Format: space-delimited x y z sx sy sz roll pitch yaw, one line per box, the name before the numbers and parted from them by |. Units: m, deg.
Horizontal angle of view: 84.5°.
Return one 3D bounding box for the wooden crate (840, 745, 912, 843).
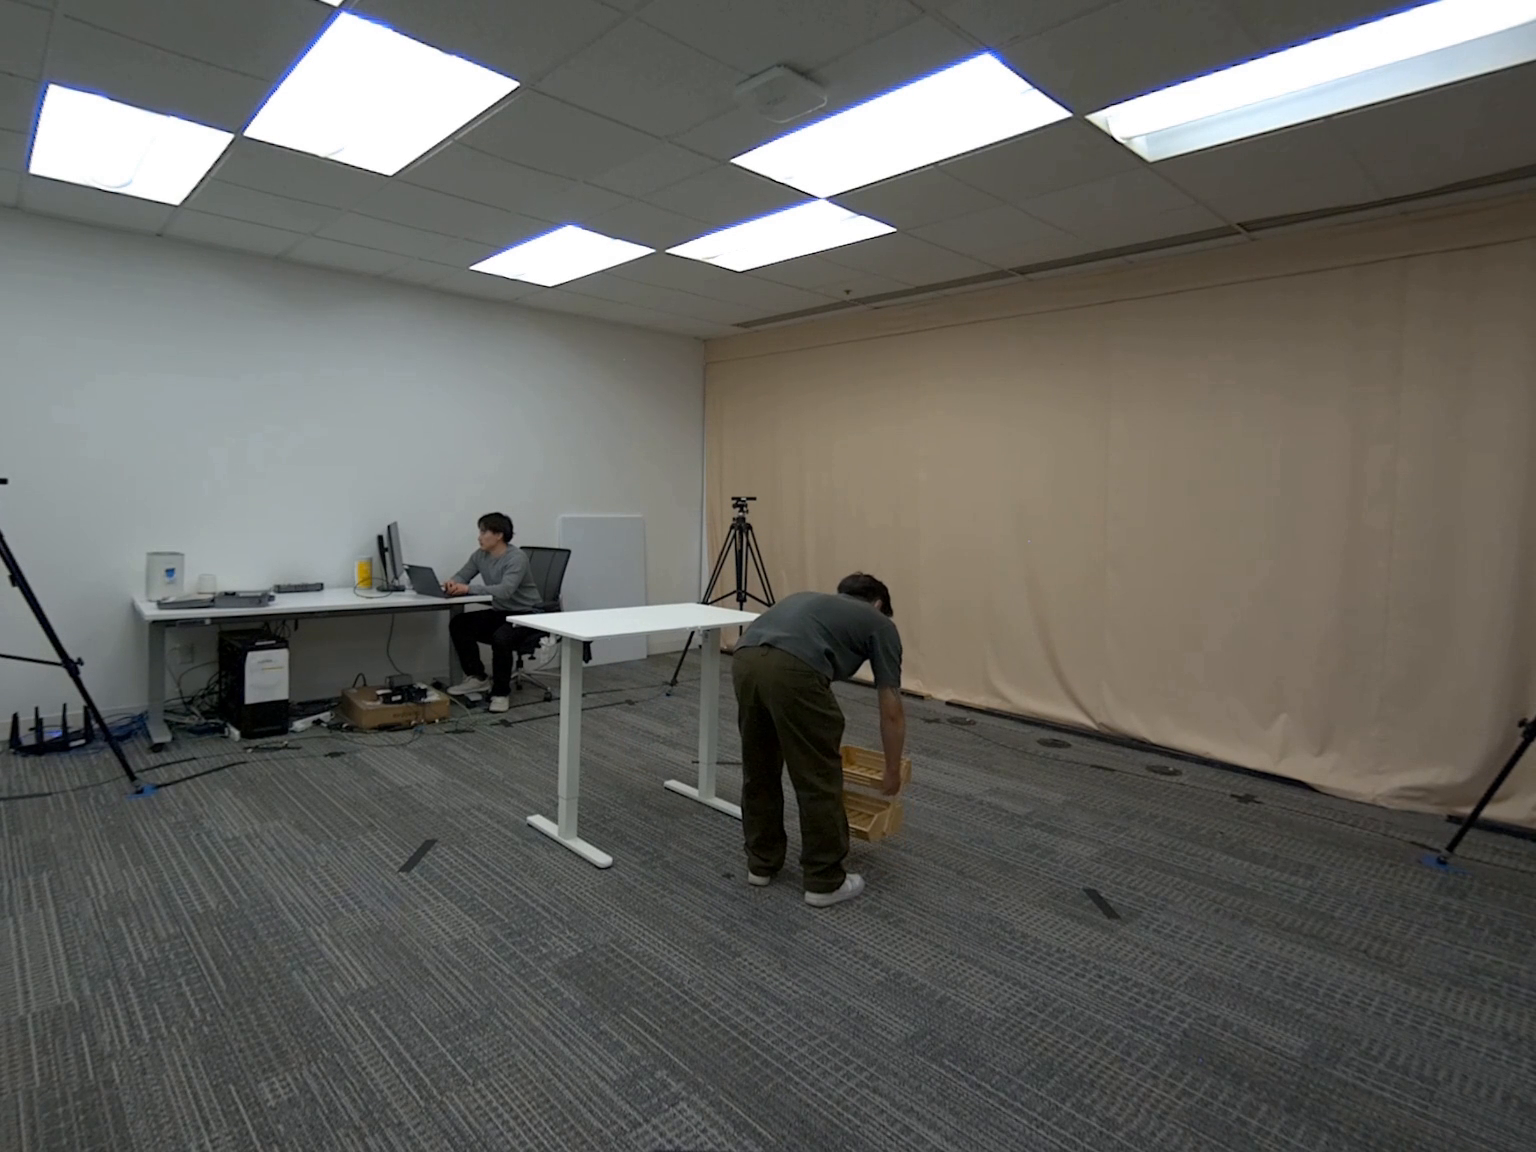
wooden crate | 0.339 0.831 3.278 0.332 0.273 0.295 5 2 40
